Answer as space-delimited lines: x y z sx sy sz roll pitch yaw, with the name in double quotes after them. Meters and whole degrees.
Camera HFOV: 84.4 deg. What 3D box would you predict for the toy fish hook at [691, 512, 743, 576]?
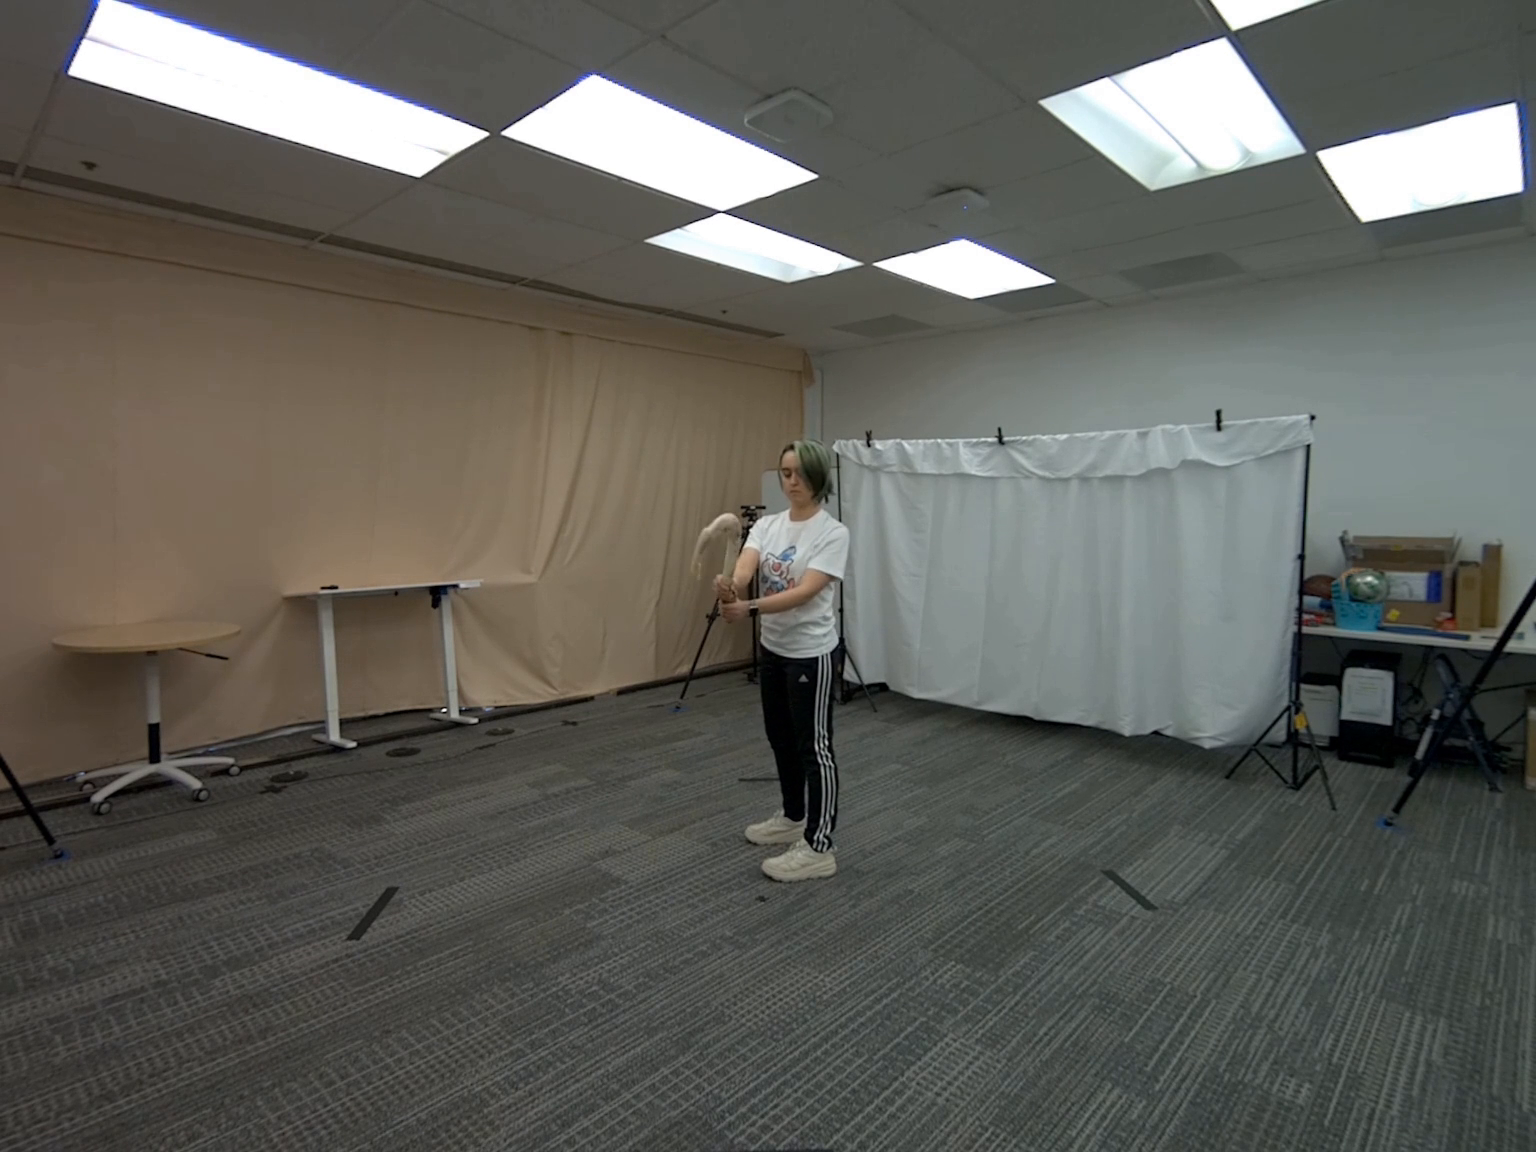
-0.175 0.021 2.759 0.222 0.496 0.050 -36 55 -29 "toy fish hook"
